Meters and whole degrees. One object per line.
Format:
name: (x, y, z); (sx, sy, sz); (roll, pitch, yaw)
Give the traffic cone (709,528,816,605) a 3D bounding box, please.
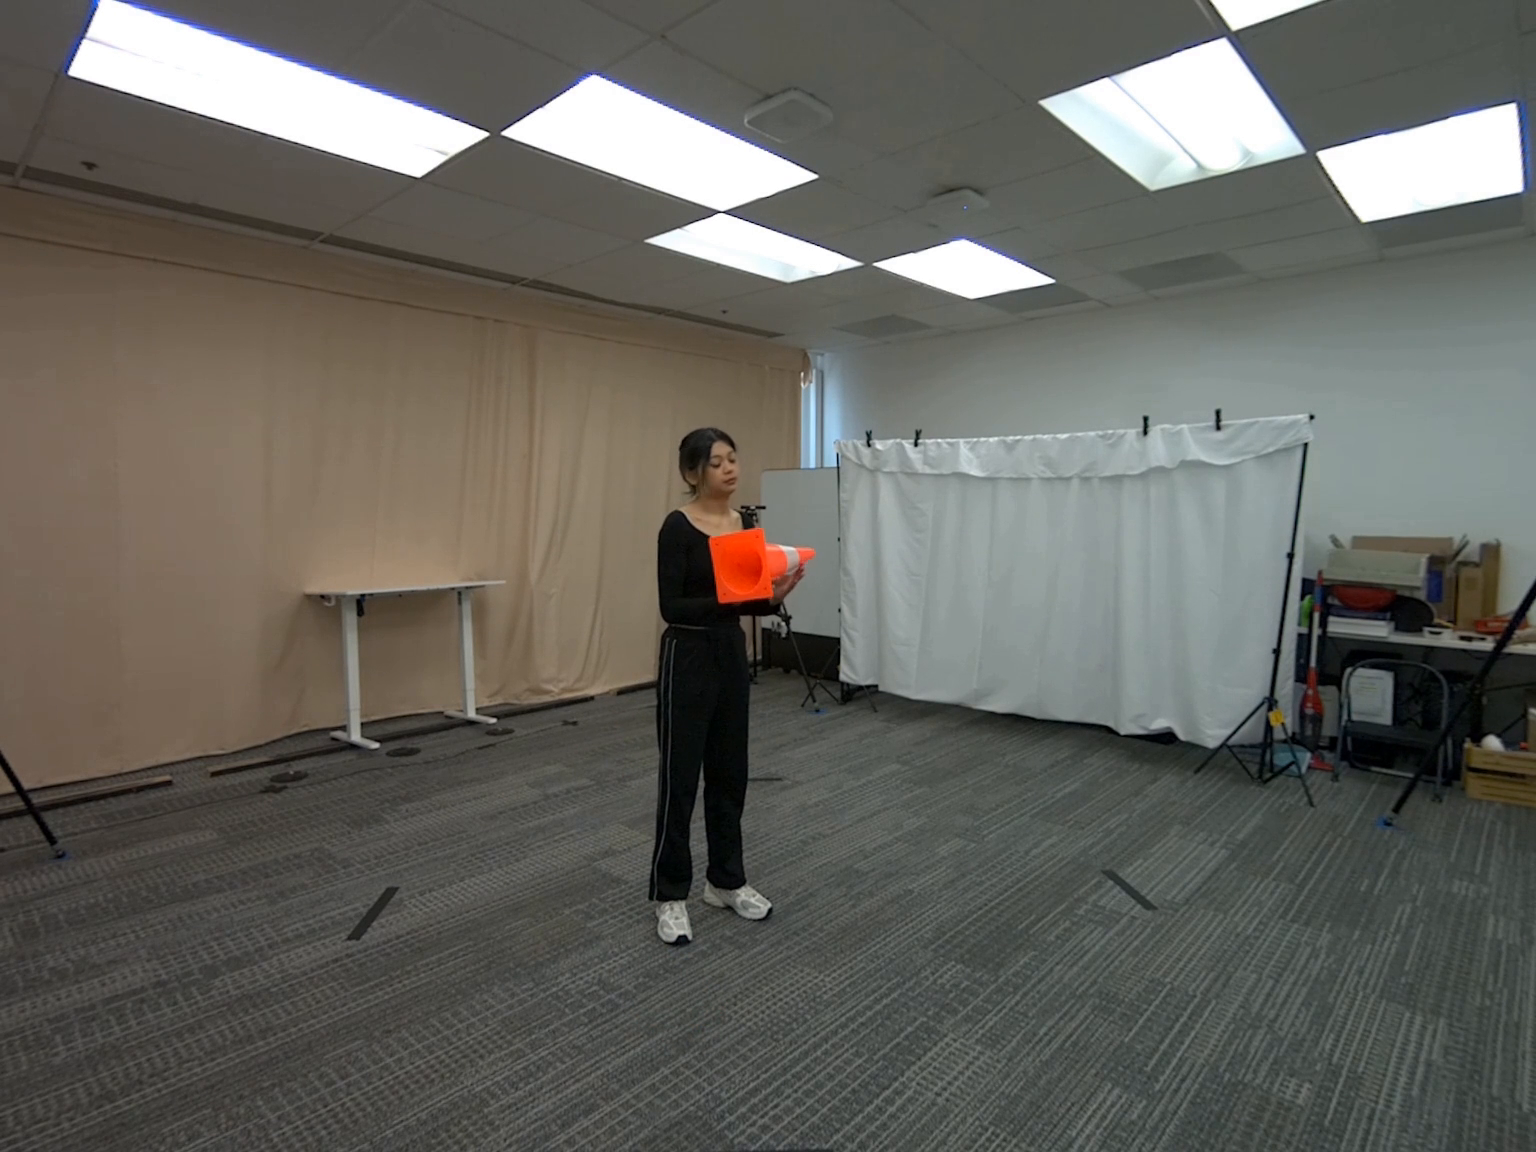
traffic cone: (0.021, -0.049, 2.575); (0.209, 0.205, 0.373); (-10, 1, 37)
